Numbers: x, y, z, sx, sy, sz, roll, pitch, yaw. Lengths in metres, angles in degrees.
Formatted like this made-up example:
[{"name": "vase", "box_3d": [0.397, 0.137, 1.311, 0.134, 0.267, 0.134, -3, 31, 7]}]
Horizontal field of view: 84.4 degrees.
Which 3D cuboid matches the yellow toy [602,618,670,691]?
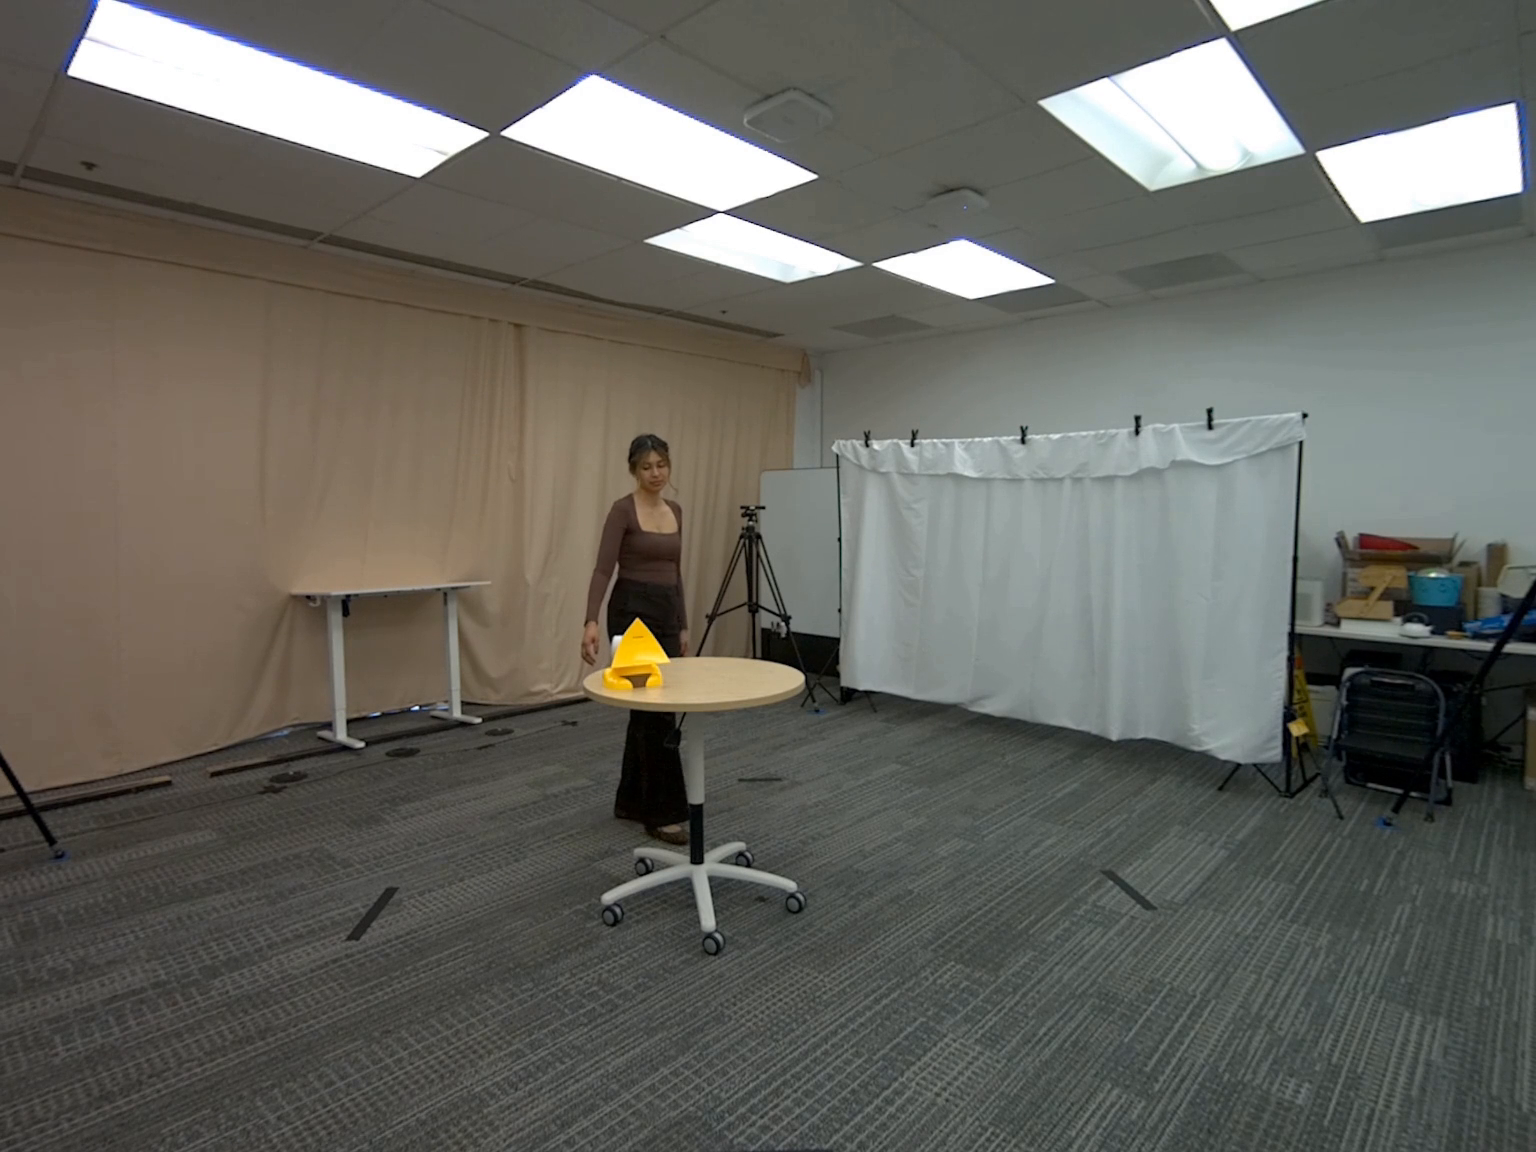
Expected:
[{"name": "yellow toy", "box_3d": [-0.456, 0.252, 2.831, 0.200, 0.230, 0.198, -2, 4, -26]}]
